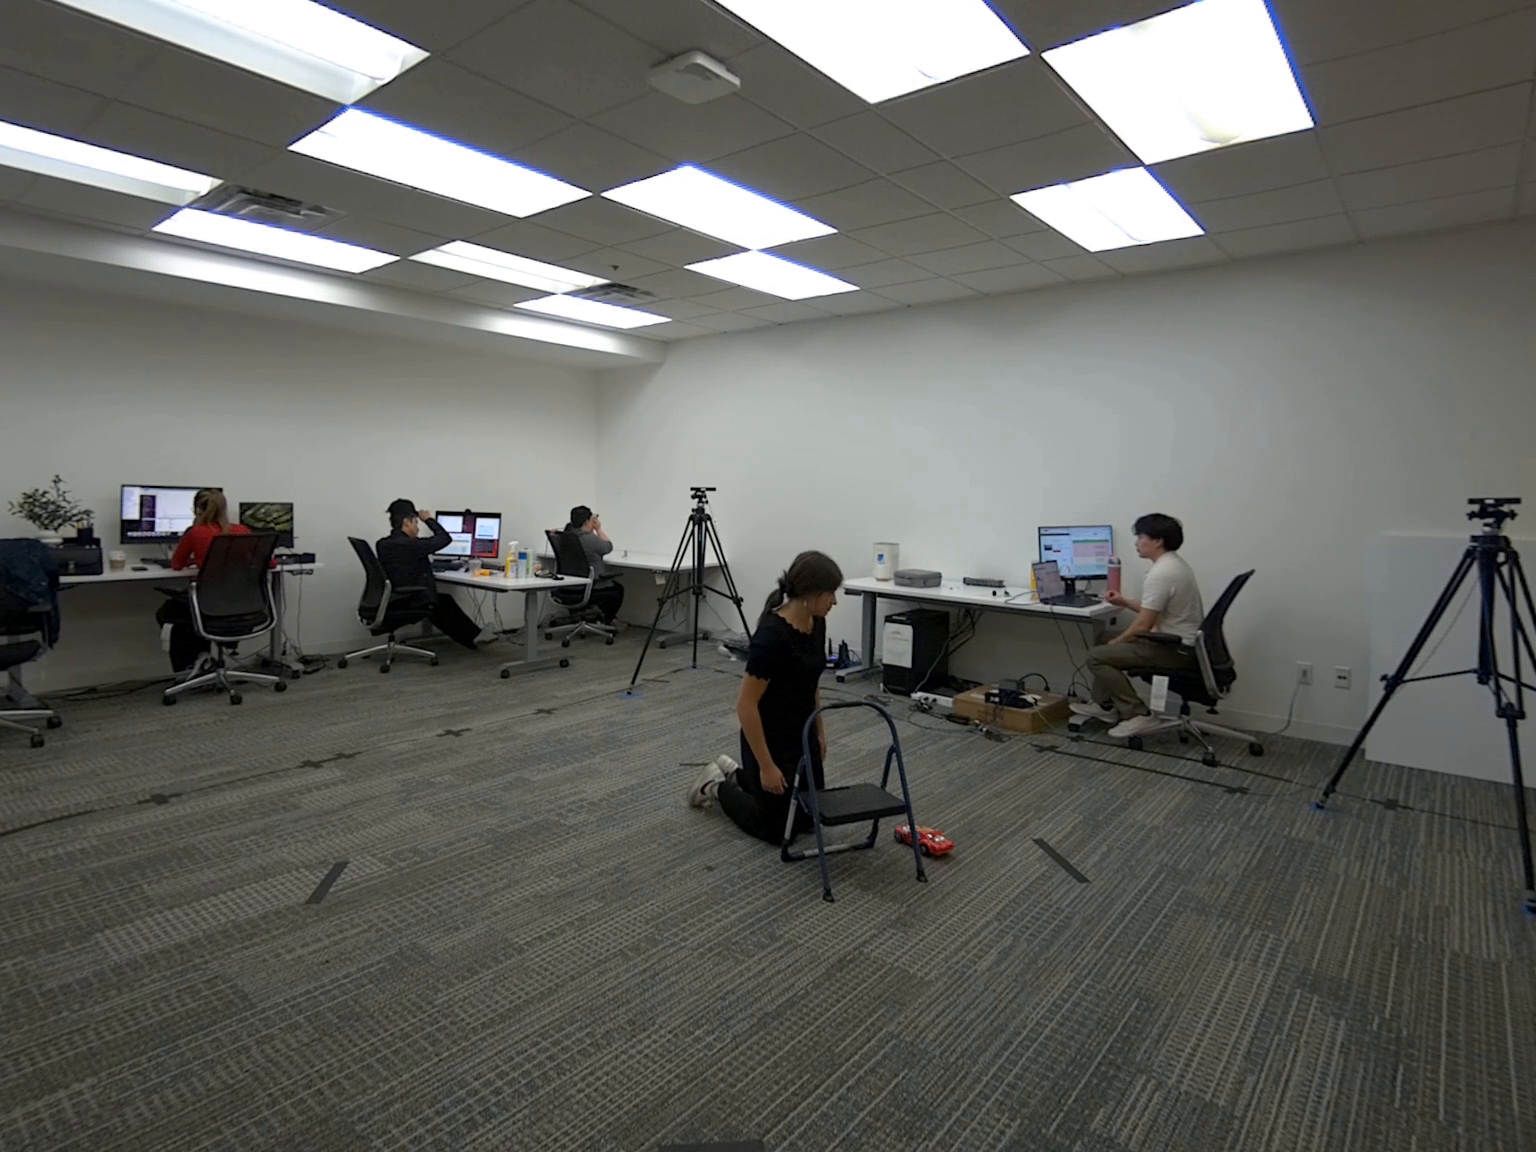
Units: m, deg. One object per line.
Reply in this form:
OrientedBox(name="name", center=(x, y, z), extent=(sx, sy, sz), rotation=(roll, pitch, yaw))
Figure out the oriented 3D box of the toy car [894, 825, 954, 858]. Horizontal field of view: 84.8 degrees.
OrientedBox(name="toy car", center=(0.611, 1.038, 3.337), extent=(0.126, 0.084, 0.260), rotation=(3, -7, -33))
